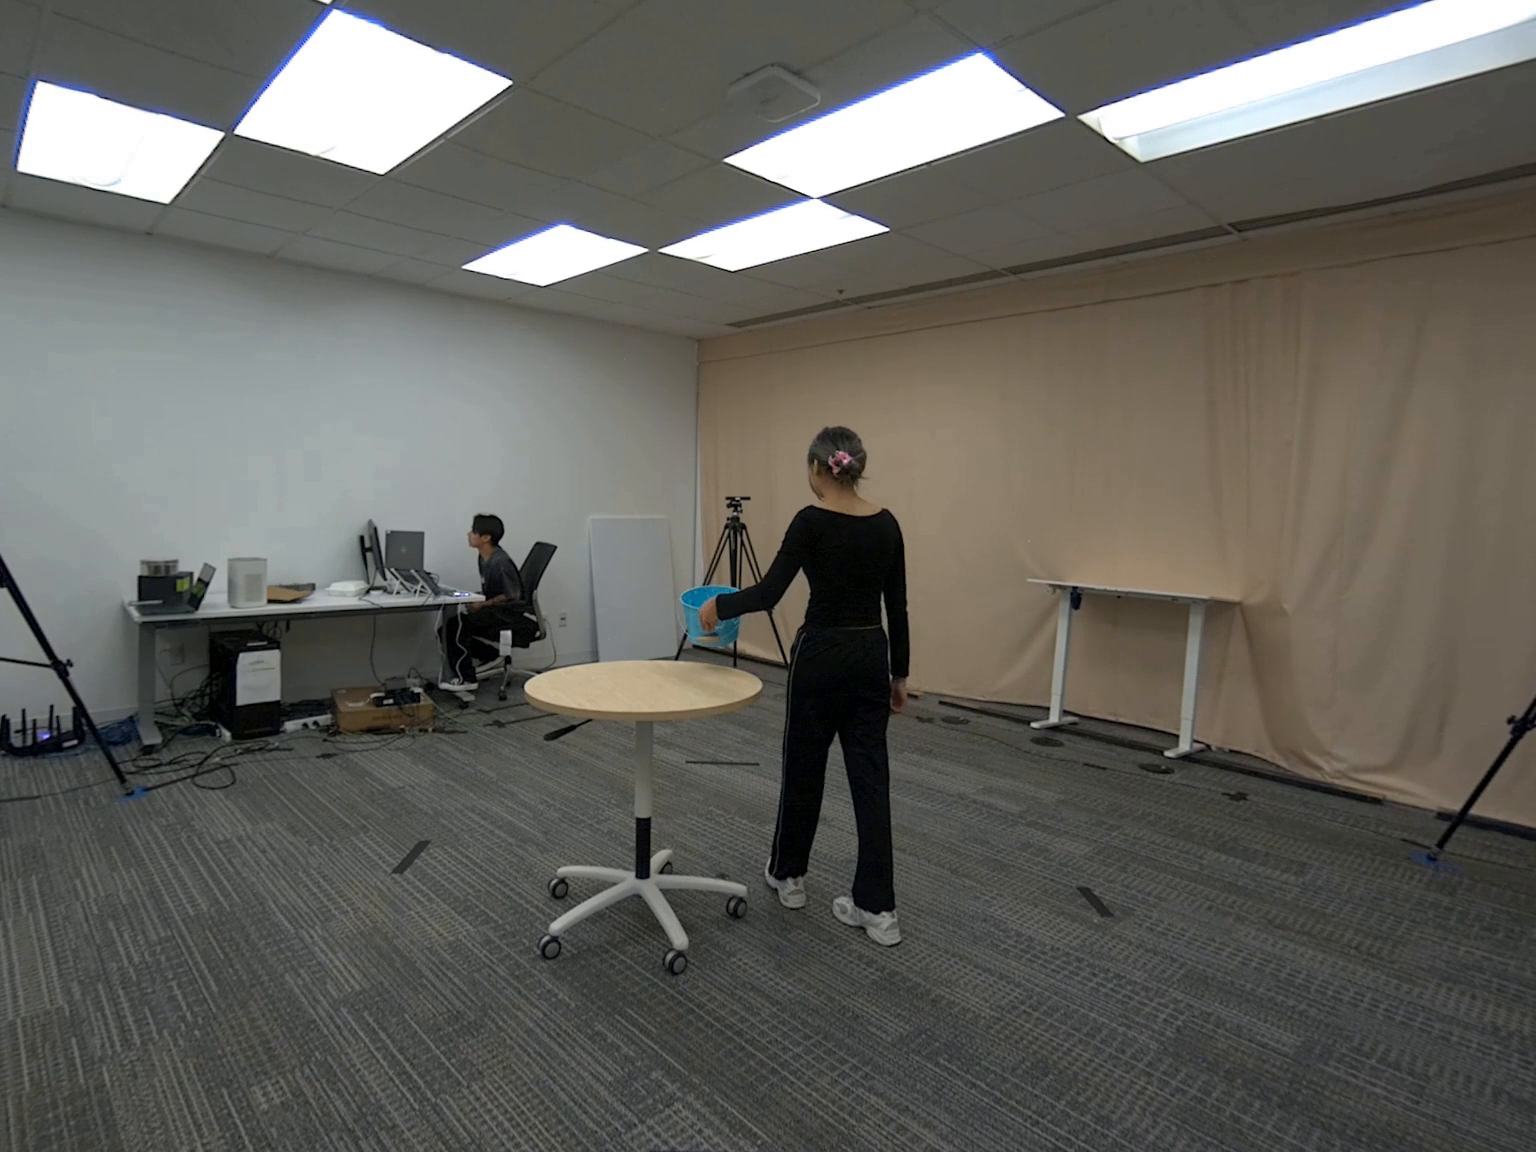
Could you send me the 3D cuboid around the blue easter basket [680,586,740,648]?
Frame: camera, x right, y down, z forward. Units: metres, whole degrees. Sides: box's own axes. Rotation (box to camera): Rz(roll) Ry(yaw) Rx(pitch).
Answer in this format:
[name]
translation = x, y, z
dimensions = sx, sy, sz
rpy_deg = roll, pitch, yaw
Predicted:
[blue easter basket]
translation = -0.205, 0.151, 2.992
dimensions = 0.243, 0.154, 0.247
rpy_deg = -1, 17, -1
